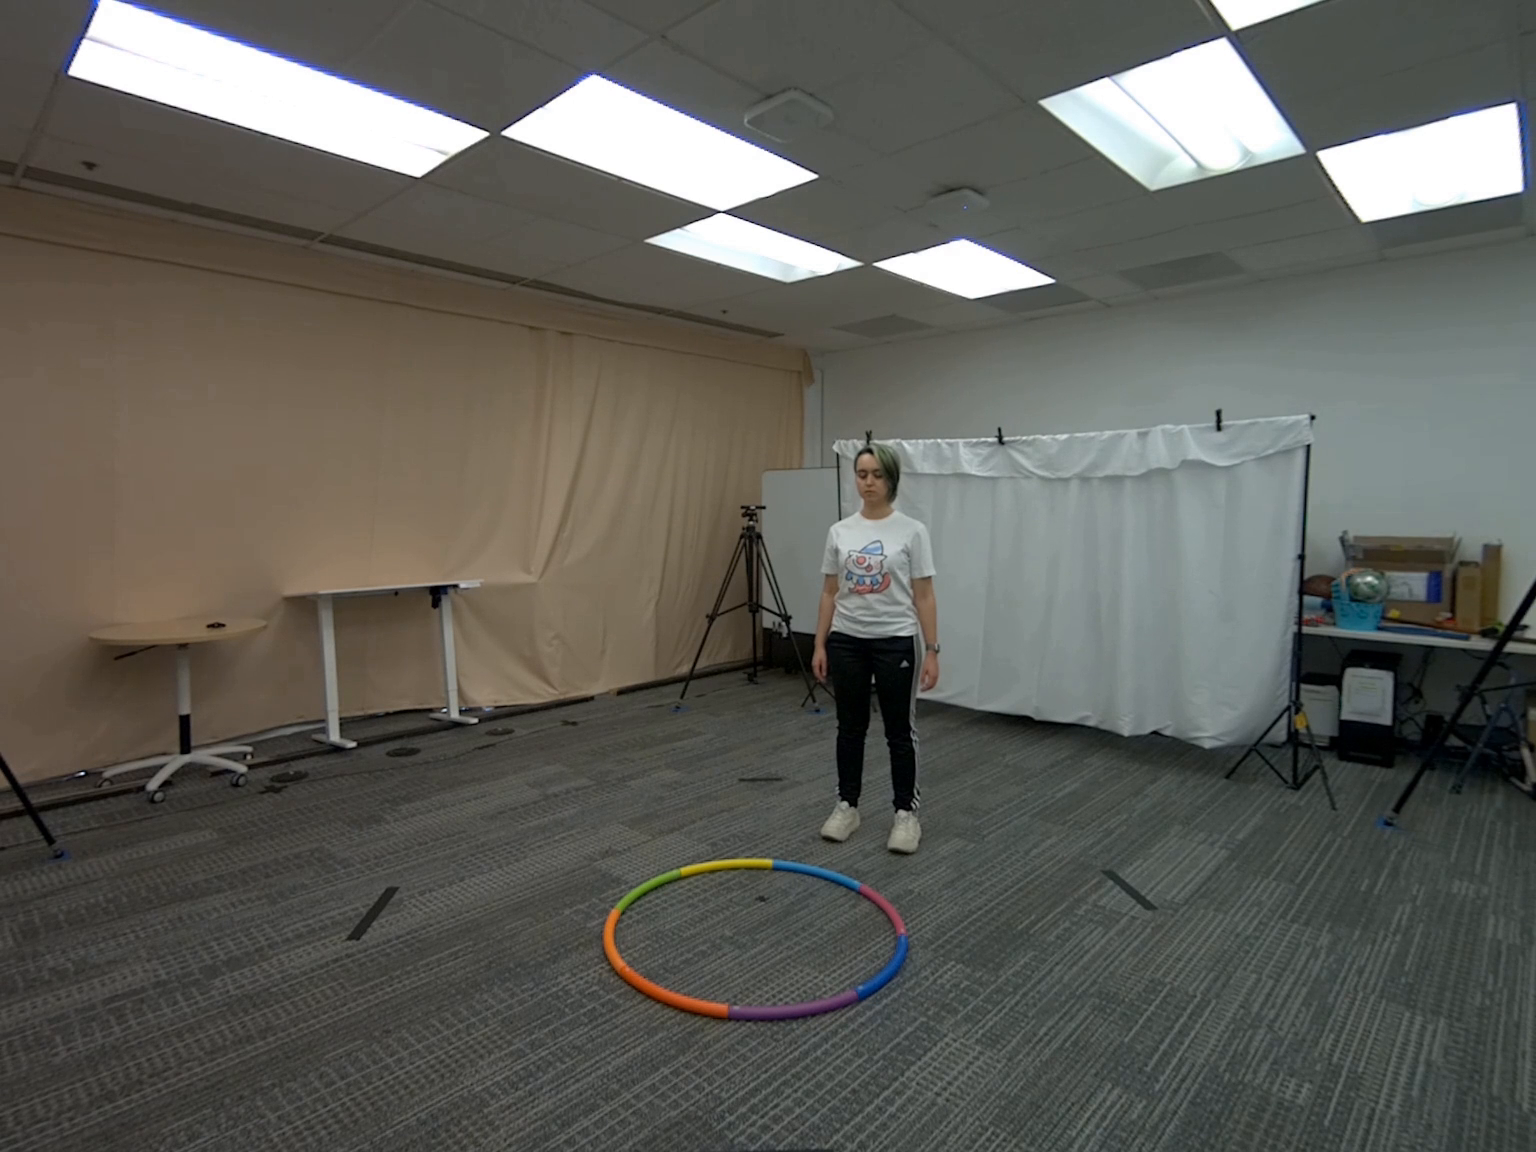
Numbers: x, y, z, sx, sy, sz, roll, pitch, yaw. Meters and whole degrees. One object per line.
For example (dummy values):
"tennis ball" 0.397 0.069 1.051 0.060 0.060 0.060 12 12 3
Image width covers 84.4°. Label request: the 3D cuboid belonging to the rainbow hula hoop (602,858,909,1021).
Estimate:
"rainbow hula hoop" -0.045 1.134 2.760 0.978 0.035 0.982 -1 5 -2
